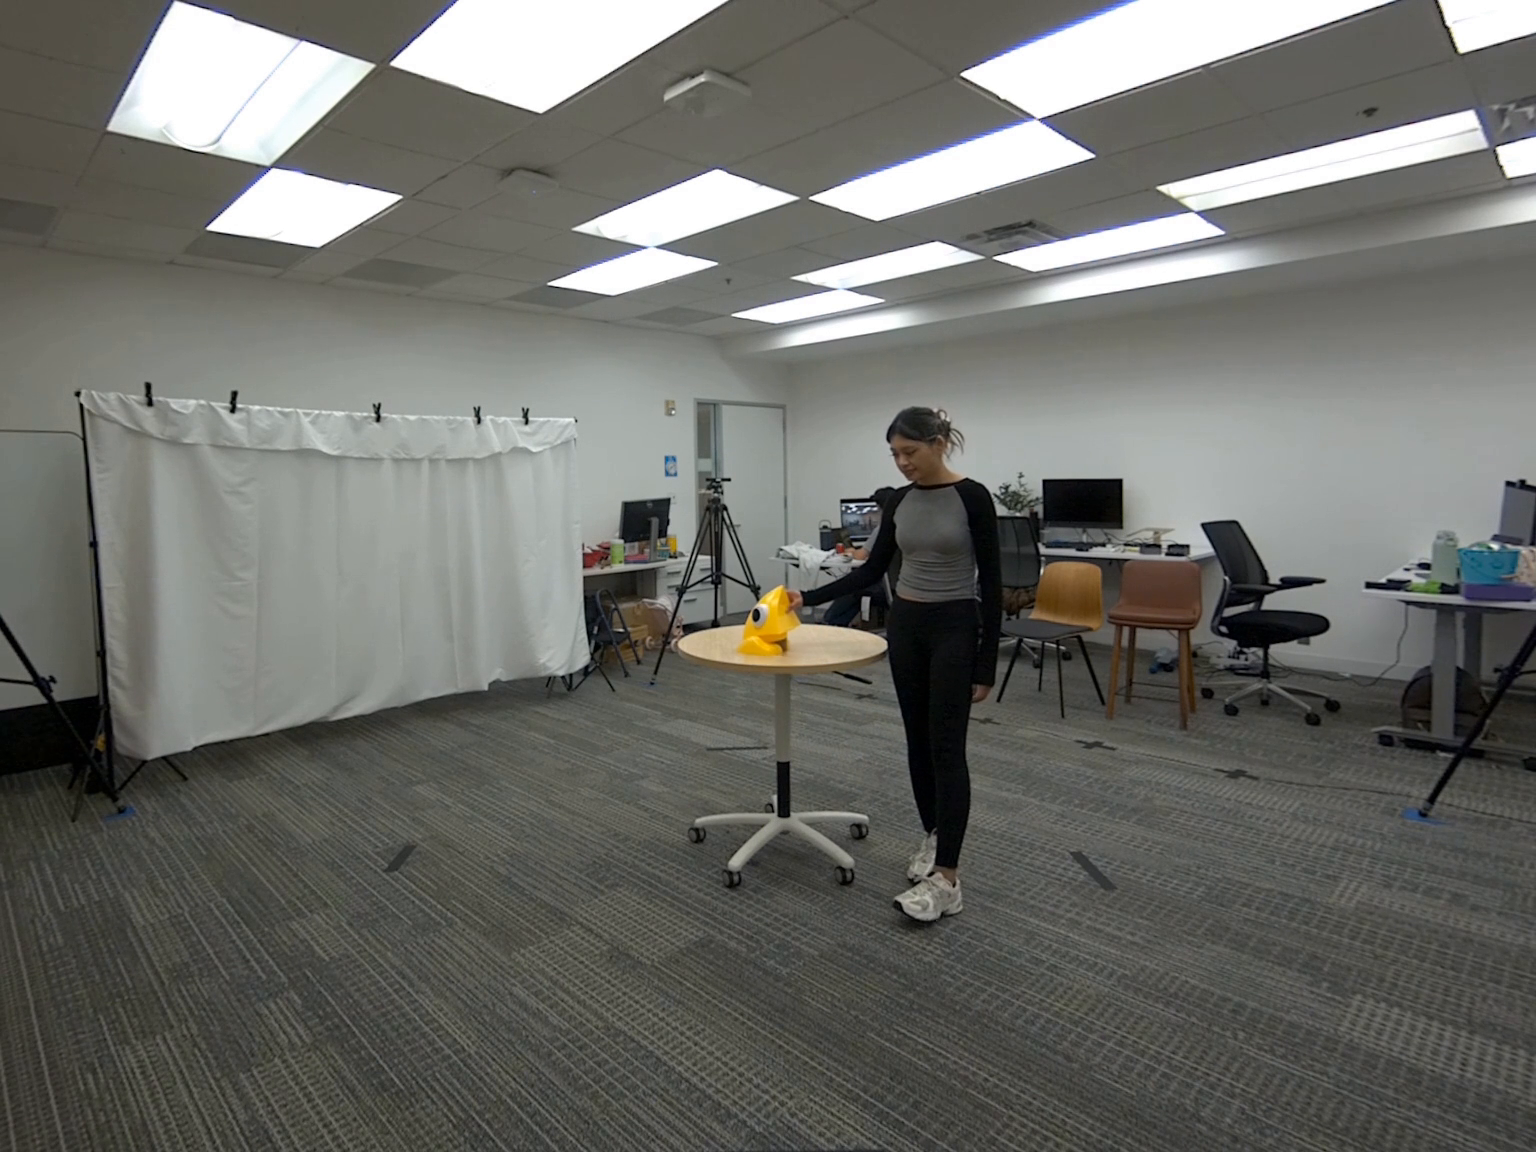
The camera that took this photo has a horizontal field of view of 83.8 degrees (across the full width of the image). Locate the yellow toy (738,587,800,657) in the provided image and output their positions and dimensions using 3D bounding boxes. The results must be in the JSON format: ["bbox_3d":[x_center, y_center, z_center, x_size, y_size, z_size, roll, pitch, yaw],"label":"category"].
[{"bbox_3d":[0.000,0.145,3.007,0.197,0.230,0.201,0,4,24],"label":"yellow toy"}]
